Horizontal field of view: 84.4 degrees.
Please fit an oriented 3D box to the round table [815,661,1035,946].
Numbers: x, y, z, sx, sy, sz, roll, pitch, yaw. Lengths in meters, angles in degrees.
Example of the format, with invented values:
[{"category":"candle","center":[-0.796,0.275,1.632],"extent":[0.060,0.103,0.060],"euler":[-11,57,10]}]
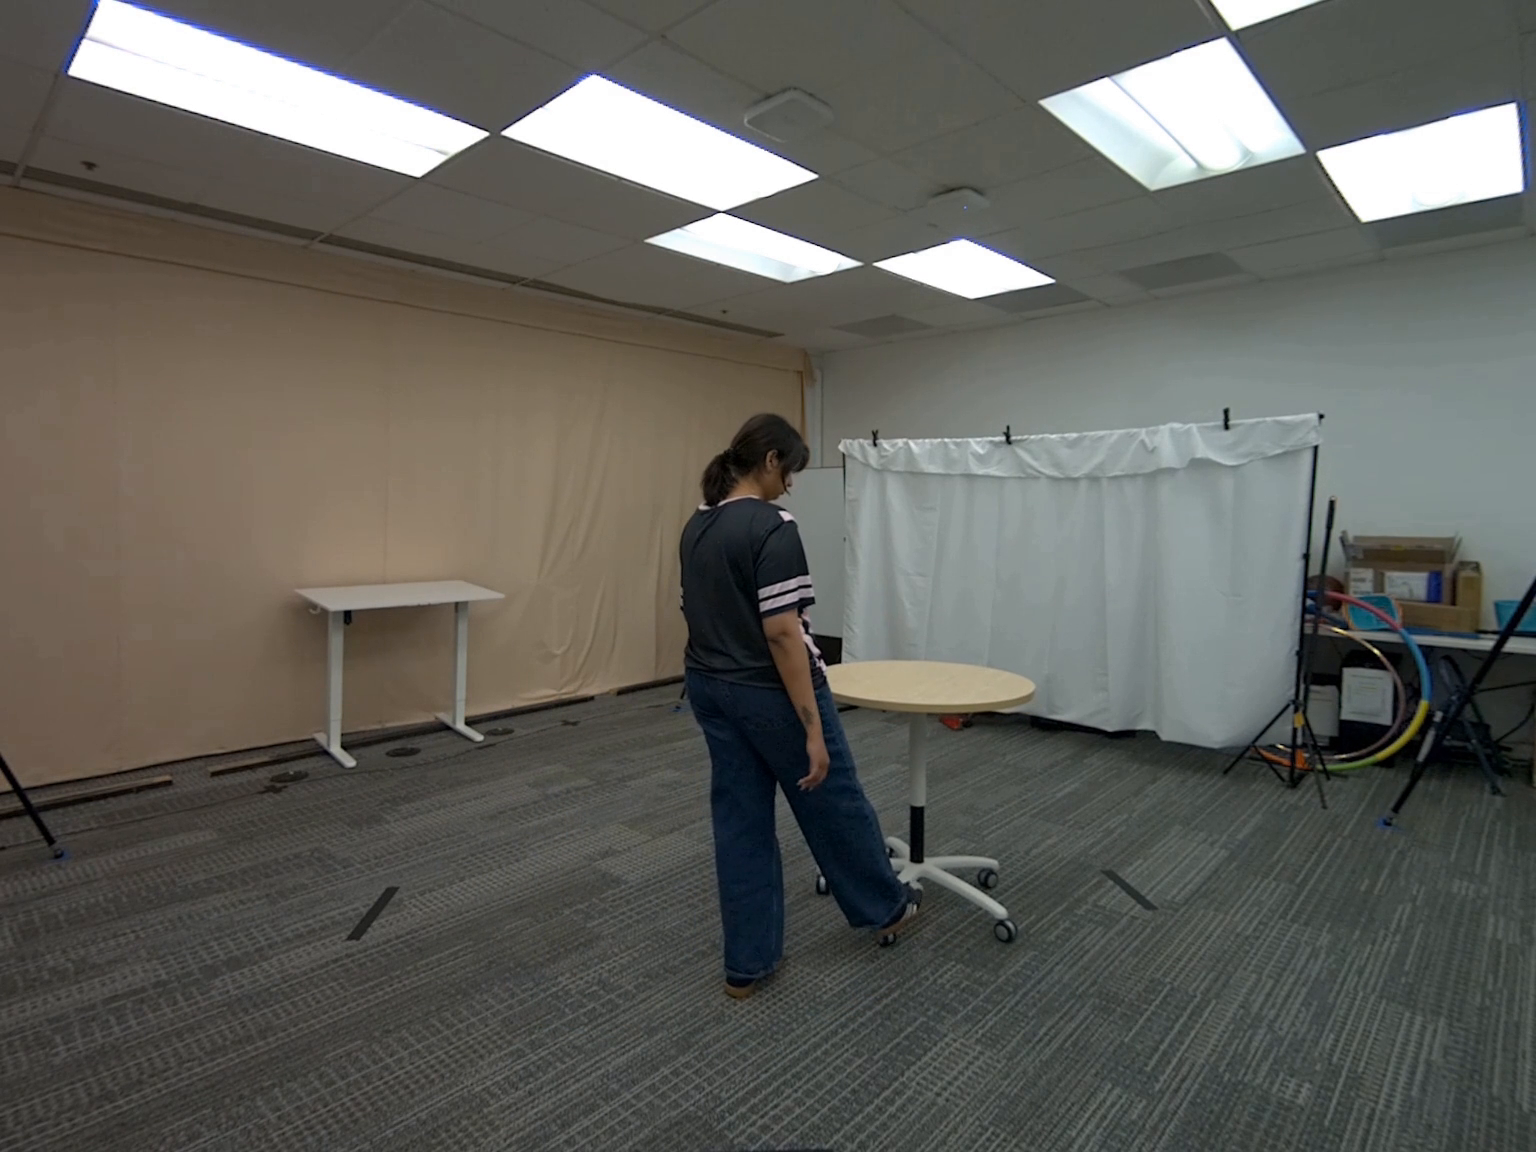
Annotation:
[{"category":"round table","center":[0.529,0.757,2.941],"extent":[0.763,0.792,0.766],"euler":[0,3,-2]}]
